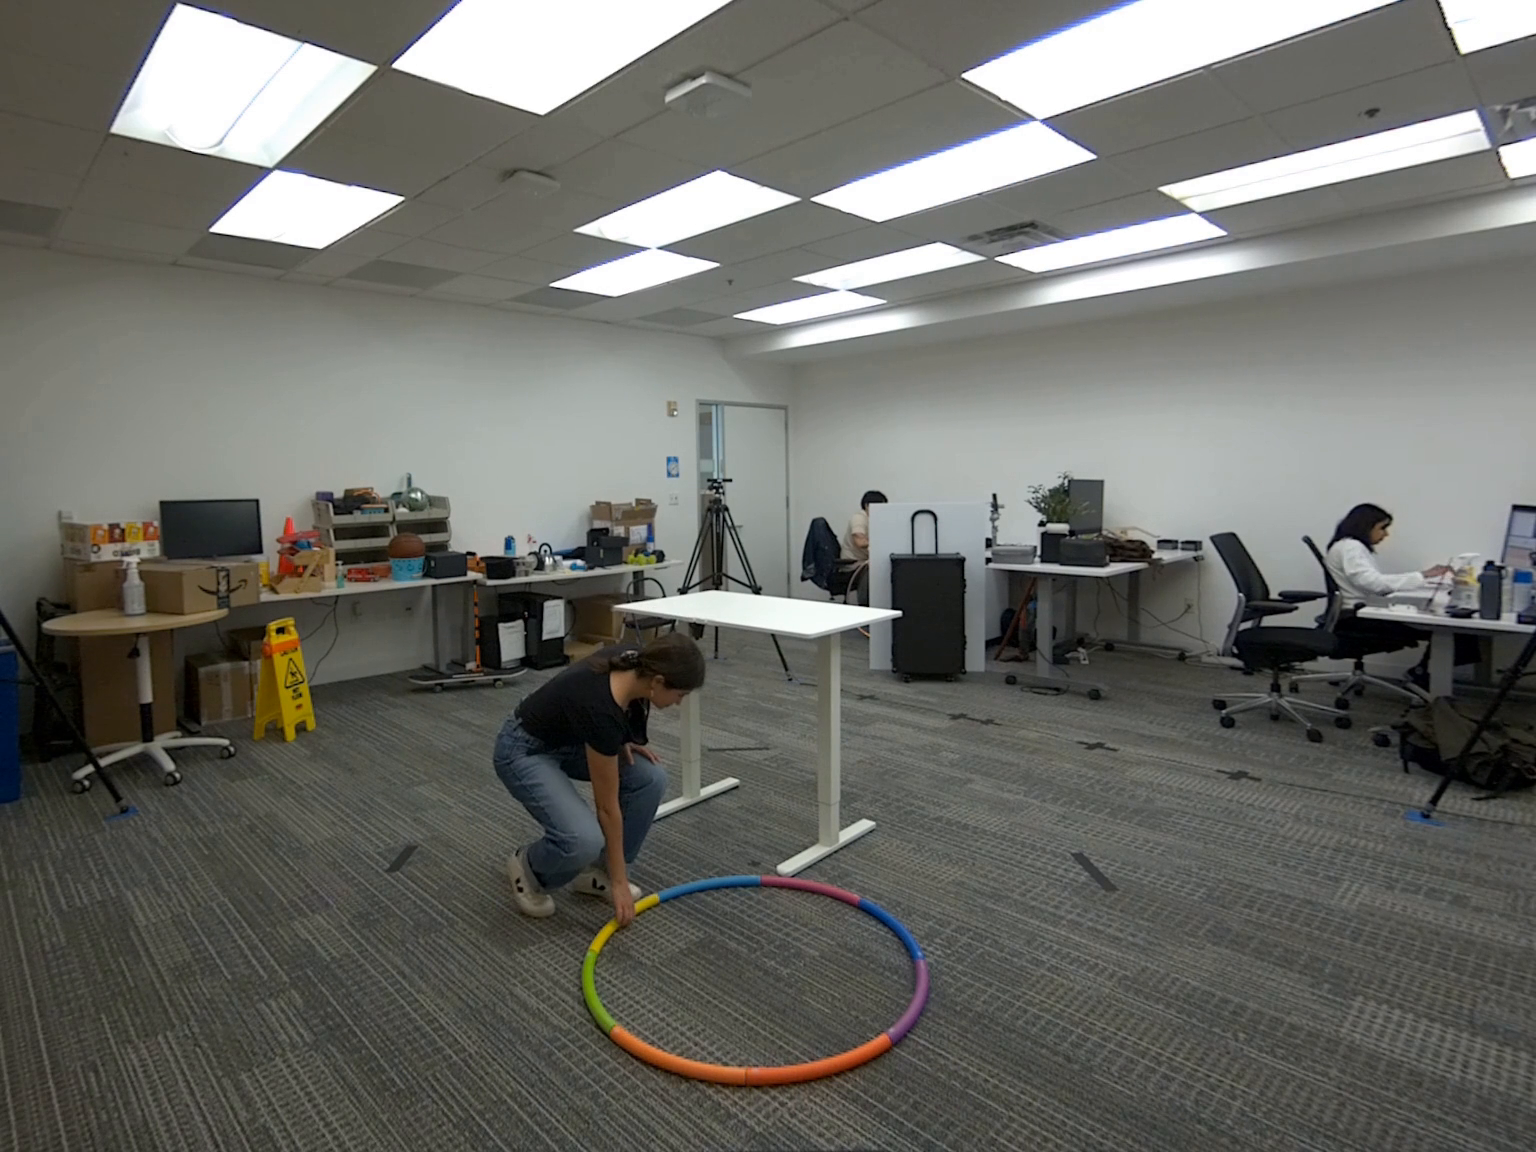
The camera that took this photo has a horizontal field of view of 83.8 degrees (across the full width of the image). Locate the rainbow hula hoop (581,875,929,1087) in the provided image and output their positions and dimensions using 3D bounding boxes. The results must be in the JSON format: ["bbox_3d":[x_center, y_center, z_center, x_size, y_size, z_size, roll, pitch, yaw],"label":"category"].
[{"bbox_3d":[-0.034,1.092,2.468,0.978,0.035,0.984,-2,7,-2],"label":"rainbow hula hoop"}]
